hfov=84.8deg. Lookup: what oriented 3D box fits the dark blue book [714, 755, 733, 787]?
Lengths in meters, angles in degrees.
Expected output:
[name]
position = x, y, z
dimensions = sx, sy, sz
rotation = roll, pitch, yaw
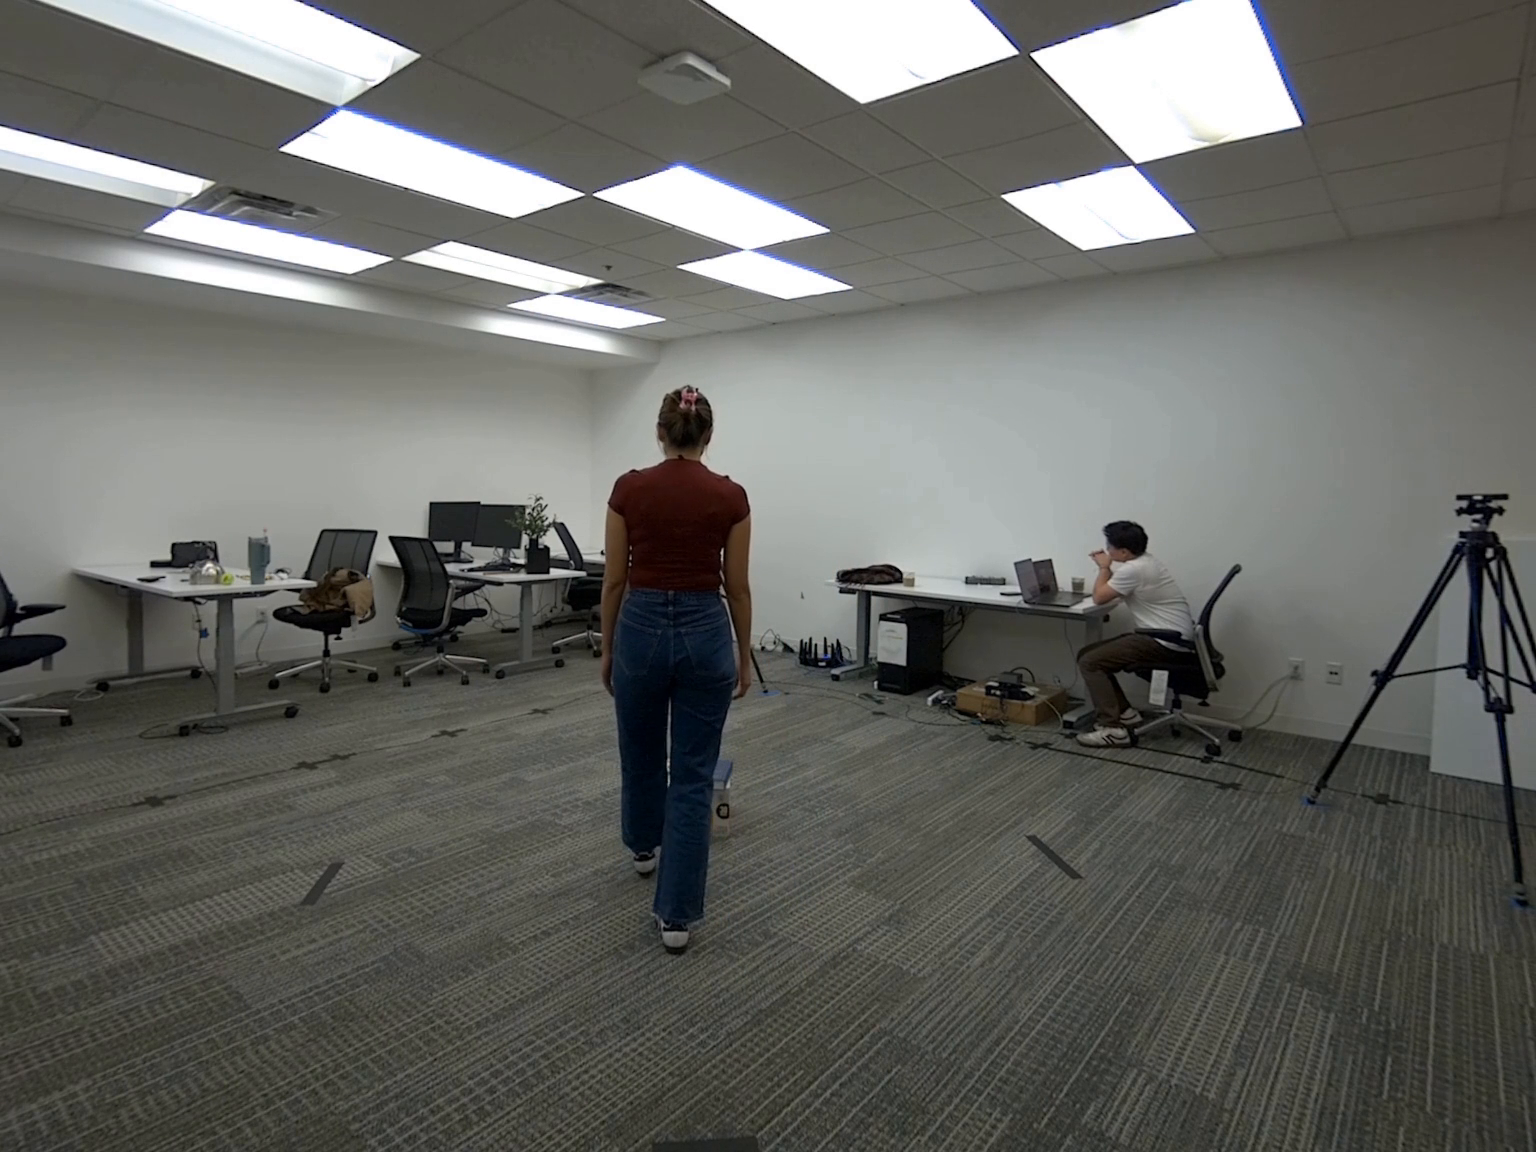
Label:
[dark blue book]
position = -0.245, 0.796, 3.462
dimensions = 0.165, 0.045, 0.244
rotation = 0, 5, 6
